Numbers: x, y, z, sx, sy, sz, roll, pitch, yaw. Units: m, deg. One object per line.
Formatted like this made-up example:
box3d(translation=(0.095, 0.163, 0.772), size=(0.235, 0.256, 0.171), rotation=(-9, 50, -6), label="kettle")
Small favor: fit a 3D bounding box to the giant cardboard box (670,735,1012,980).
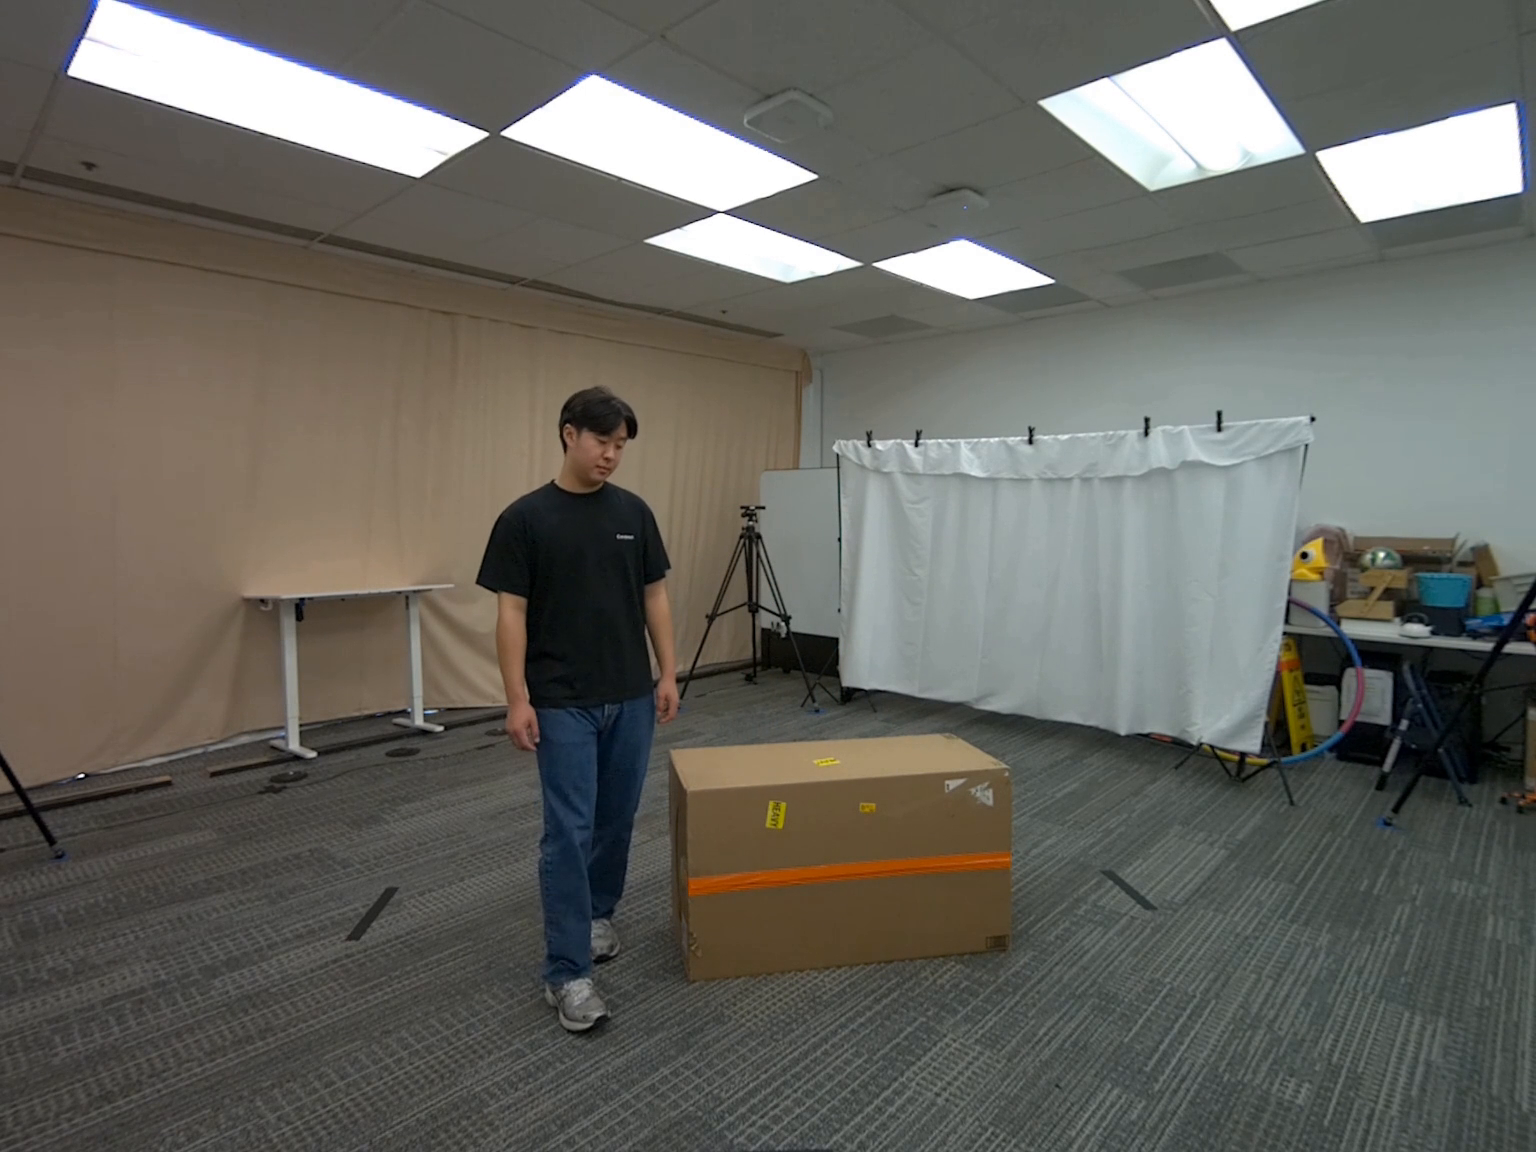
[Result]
box3d(translation=(0.214, 0.877, 2.735), size=(1.015, 0.582, 0.453), rotation=(-2, 5, -11), label="giant cardboard box")
